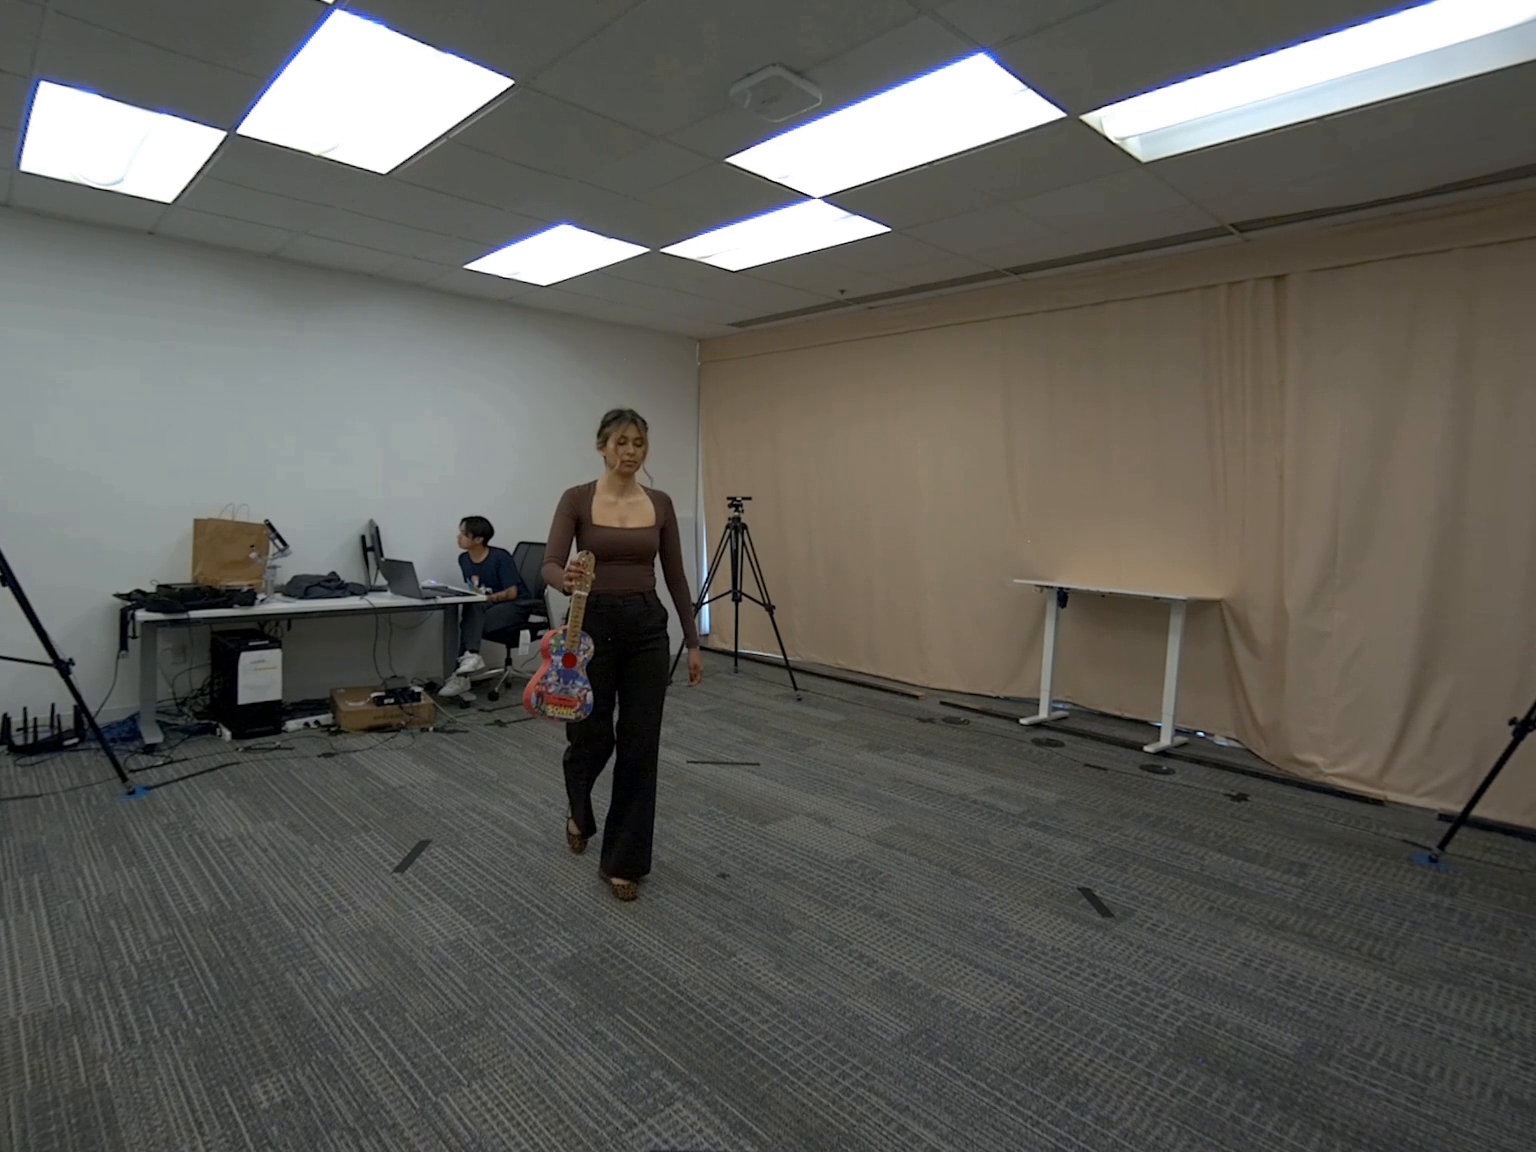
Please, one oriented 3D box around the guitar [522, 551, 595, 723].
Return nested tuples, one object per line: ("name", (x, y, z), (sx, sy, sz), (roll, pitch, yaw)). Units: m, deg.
("guitar", (-0.563, 0.186, 2.496), (0.188, 0.502, 0.072), (25, -20, -26))
